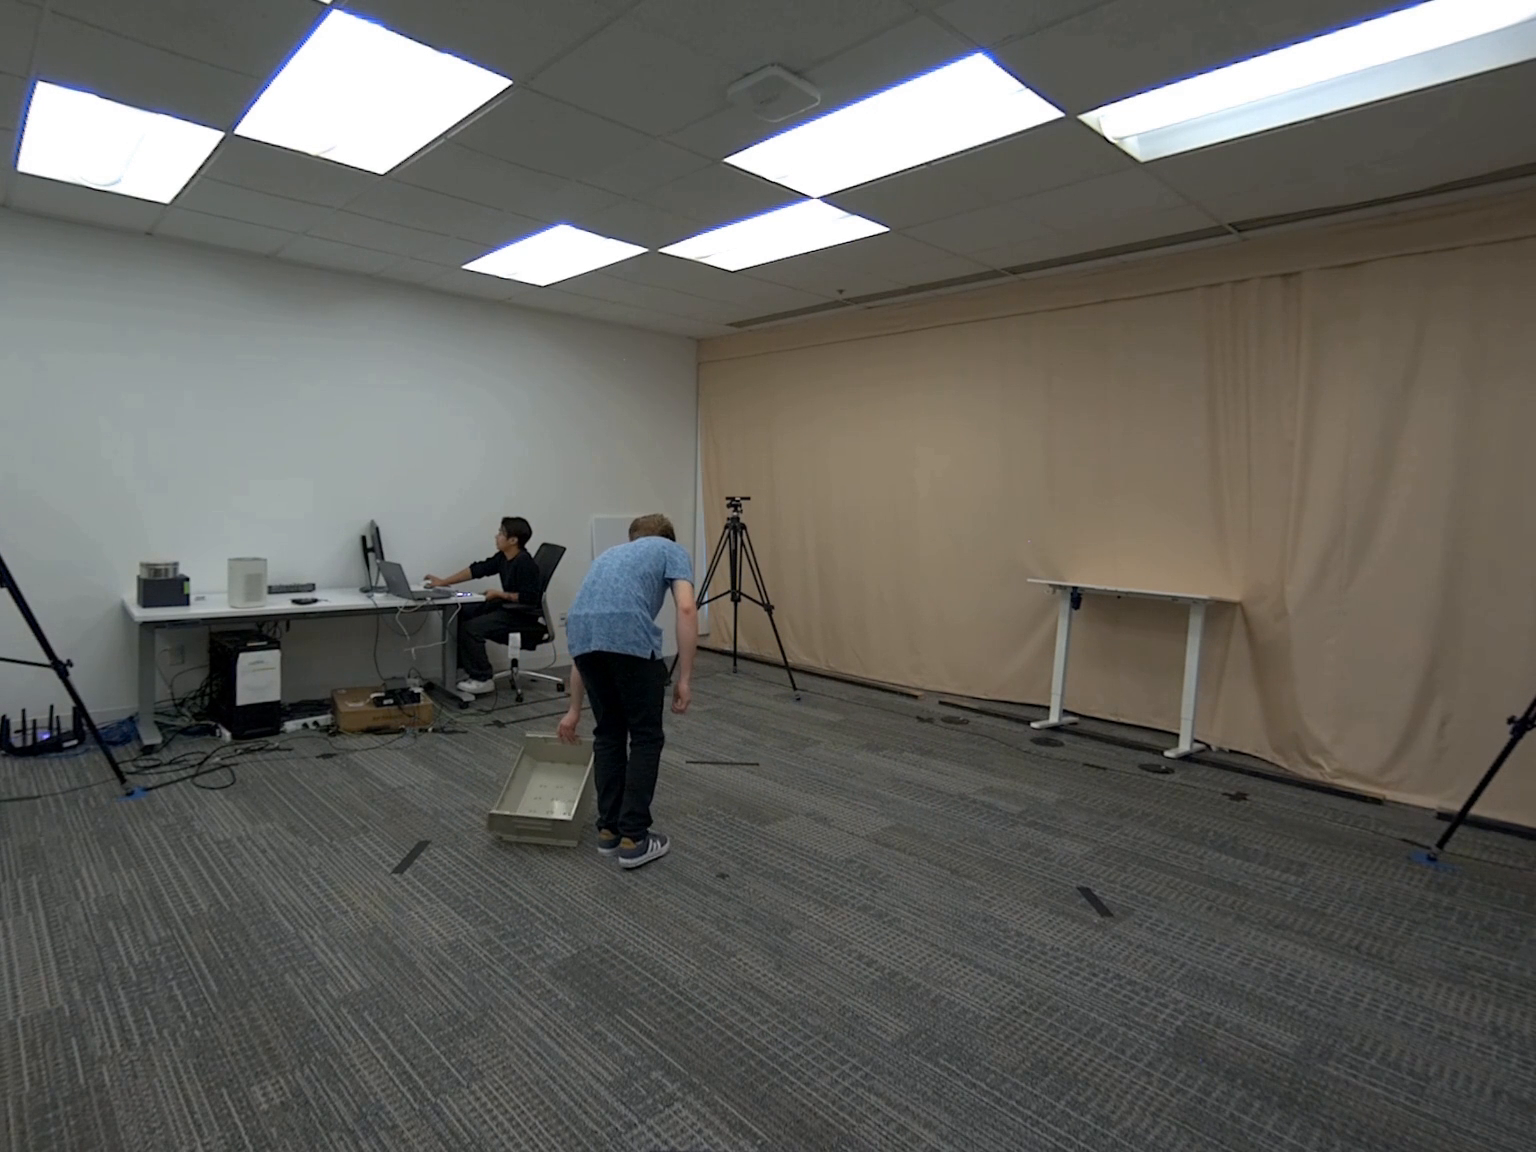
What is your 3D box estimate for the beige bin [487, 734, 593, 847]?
[{"bbox_3d":[-0.917,0.877,3.464,0.379,0.185,0.430,0,34,4],"label":"beige bin"}]
